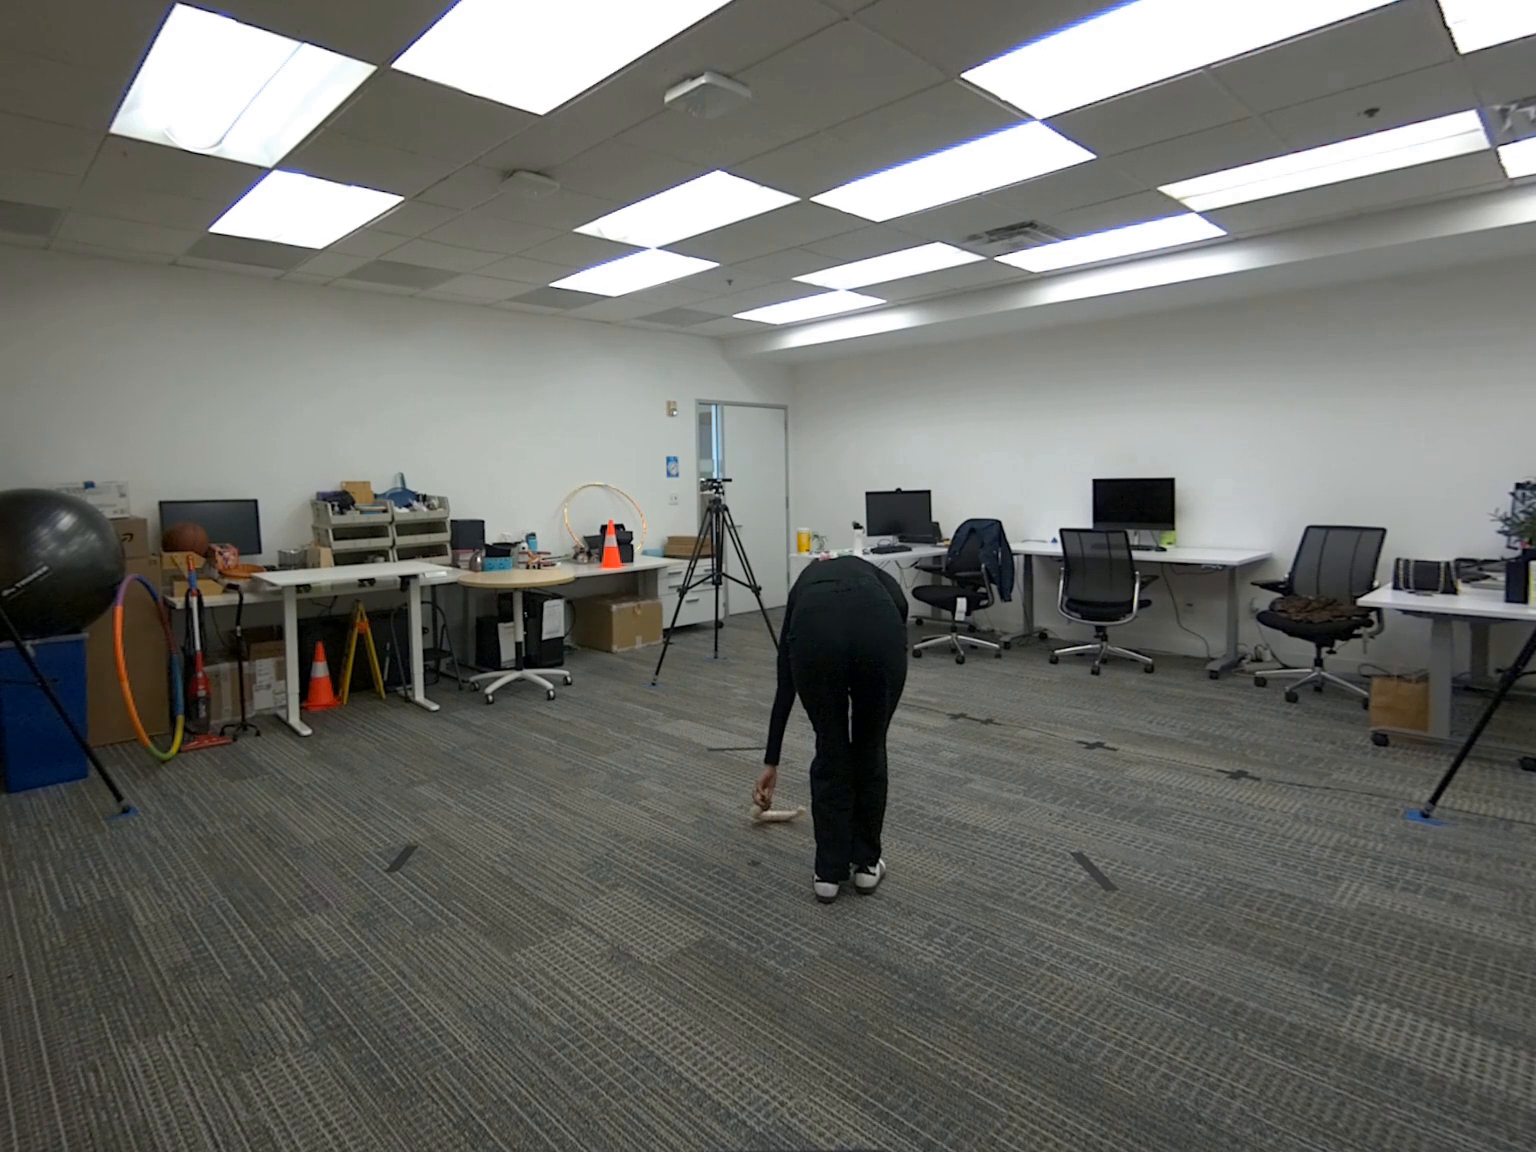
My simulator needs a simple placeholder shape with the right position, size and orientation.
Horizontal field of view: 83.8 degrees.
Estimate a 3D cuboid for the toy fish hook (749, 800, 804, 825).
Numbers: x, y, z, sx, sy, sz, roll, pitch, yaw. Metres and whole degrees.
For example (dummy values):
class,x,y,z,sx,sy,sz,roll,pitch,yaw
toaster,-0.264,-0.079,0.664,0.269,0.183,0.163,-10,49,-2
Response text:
class,x,y,z,sx,sy,sz,roll,pitch,yaw
toy fish hook,0.040,0.889,3.288,0.224,0.049,0.495,-5,-24,-1
